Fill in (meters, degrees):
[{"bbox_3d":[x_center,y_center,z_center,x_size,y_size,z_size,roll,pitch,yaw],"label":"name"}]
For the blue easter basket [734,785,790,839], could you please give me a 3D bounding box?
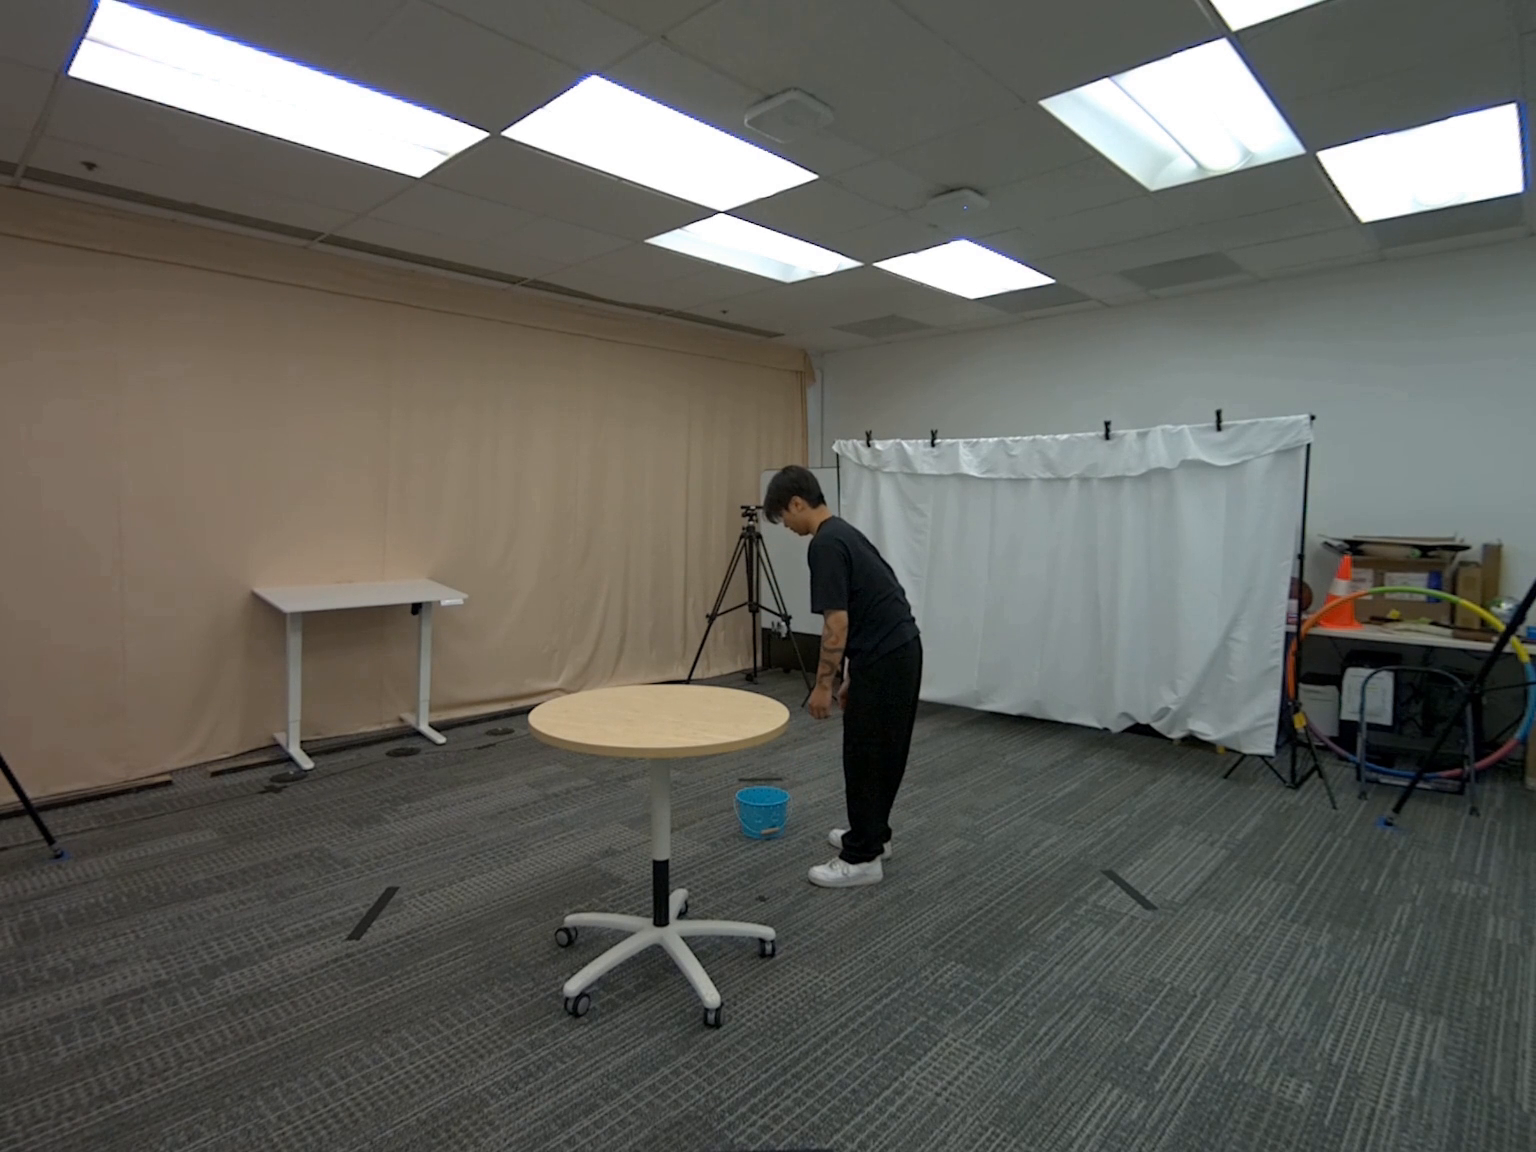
[{"bbox_3d":[-0.025,1.011,3.604,0.243,0.155,0.244,0,4,-2],"label":"blue easter basket"}]
